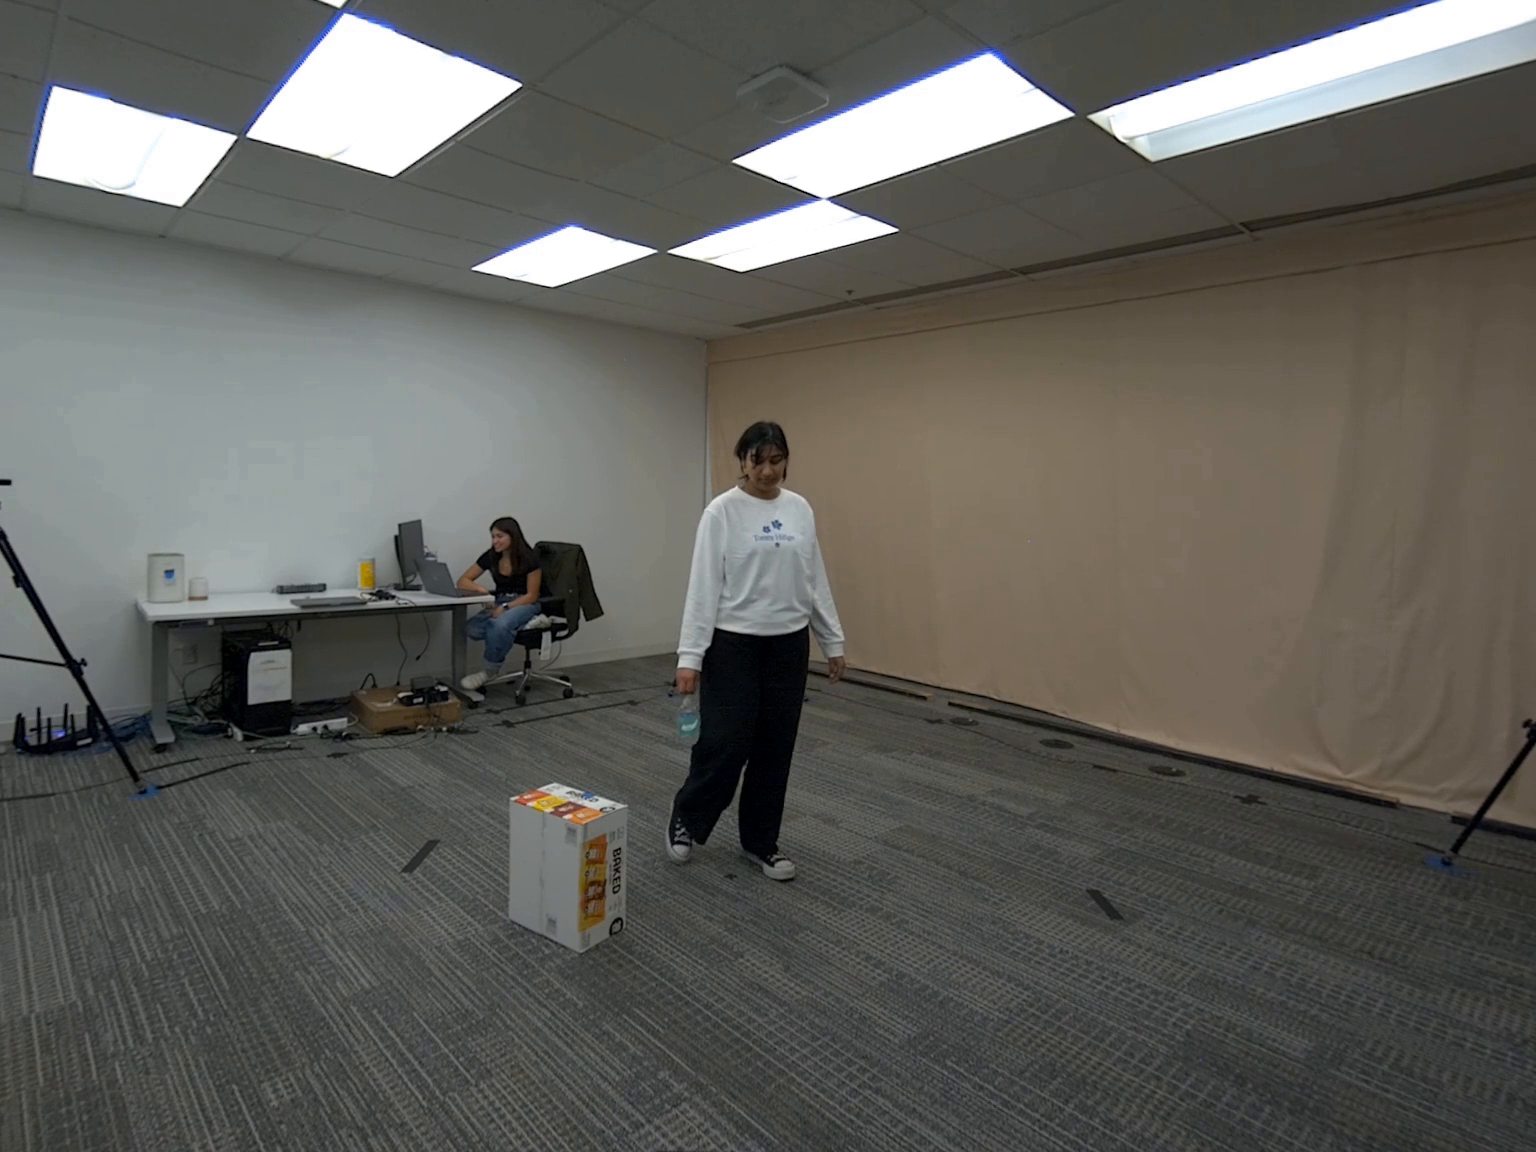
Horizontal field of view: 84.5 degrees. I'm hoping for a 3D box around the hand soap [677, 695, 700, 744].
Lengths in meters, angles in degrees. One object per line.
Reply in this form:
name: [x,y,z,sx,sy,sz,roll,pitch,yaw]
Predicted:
hand soap: [-0.284,0.482,2.953,0.084,0.168,0.043,-4,-2,-1]
